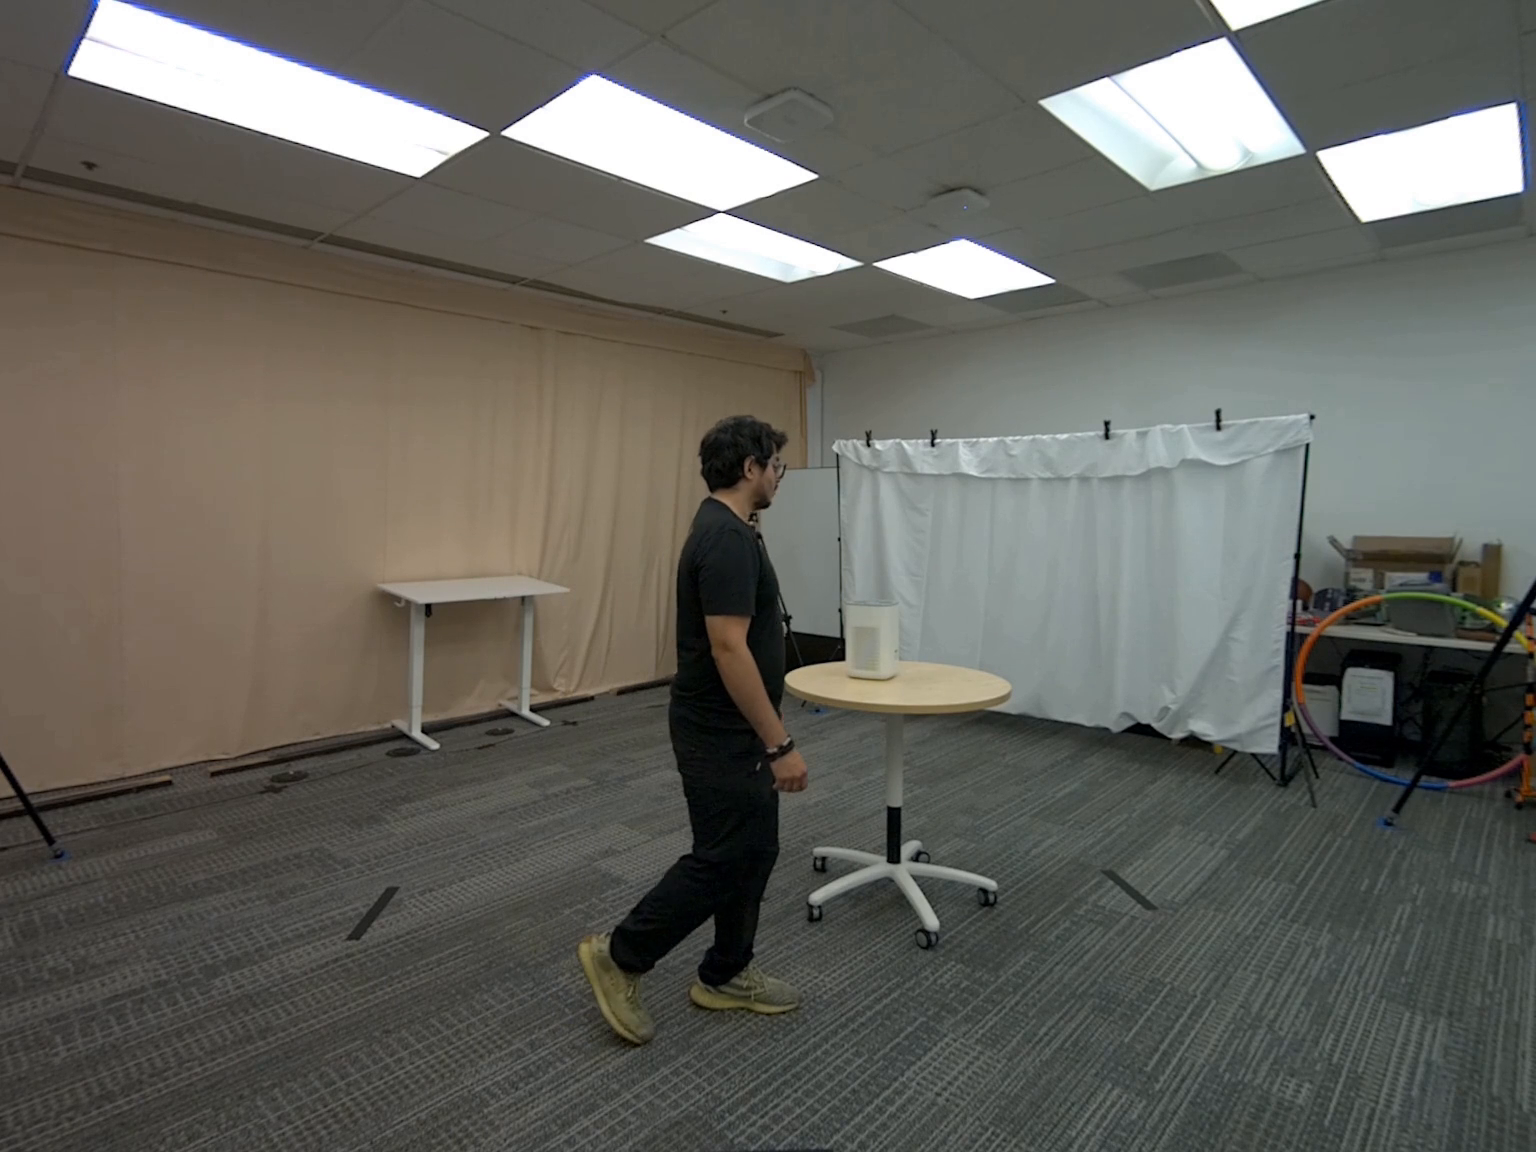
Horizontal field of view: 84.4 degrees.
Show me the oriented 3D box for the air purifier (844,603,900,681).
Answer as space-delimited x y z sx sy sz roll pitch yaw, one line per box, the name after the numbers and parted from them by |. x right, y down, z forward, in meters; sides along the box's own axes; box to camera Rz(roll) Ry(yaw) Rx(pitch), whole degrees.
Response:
0.378 0.221 2.990 0.176 0.265 0.167 0 4 24 | air purifier
